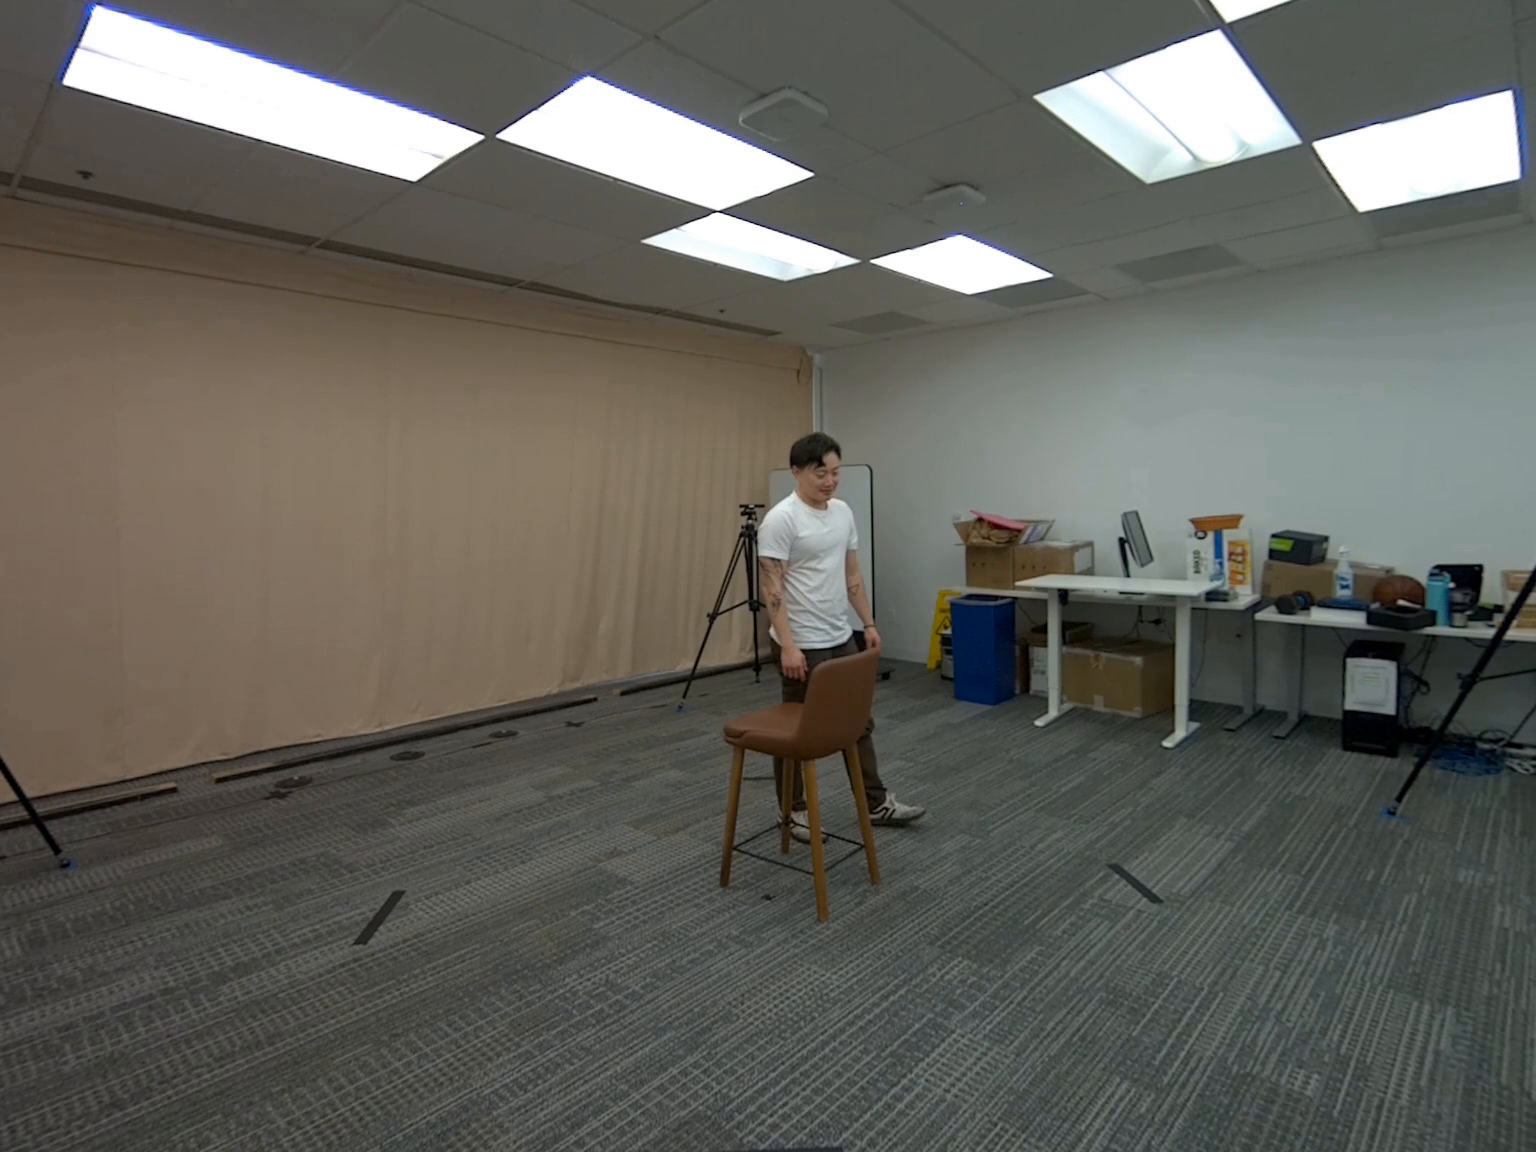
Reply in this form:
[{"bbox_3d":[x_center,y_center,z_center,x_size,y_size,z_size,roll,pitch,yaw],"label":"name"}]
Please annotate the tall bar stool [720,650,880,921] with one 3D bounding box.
[{"bbox_3d":[0.118,0.694,3.053,0.483,0.887,0.443,5,6,39],"label":"tall bar stool"}]
